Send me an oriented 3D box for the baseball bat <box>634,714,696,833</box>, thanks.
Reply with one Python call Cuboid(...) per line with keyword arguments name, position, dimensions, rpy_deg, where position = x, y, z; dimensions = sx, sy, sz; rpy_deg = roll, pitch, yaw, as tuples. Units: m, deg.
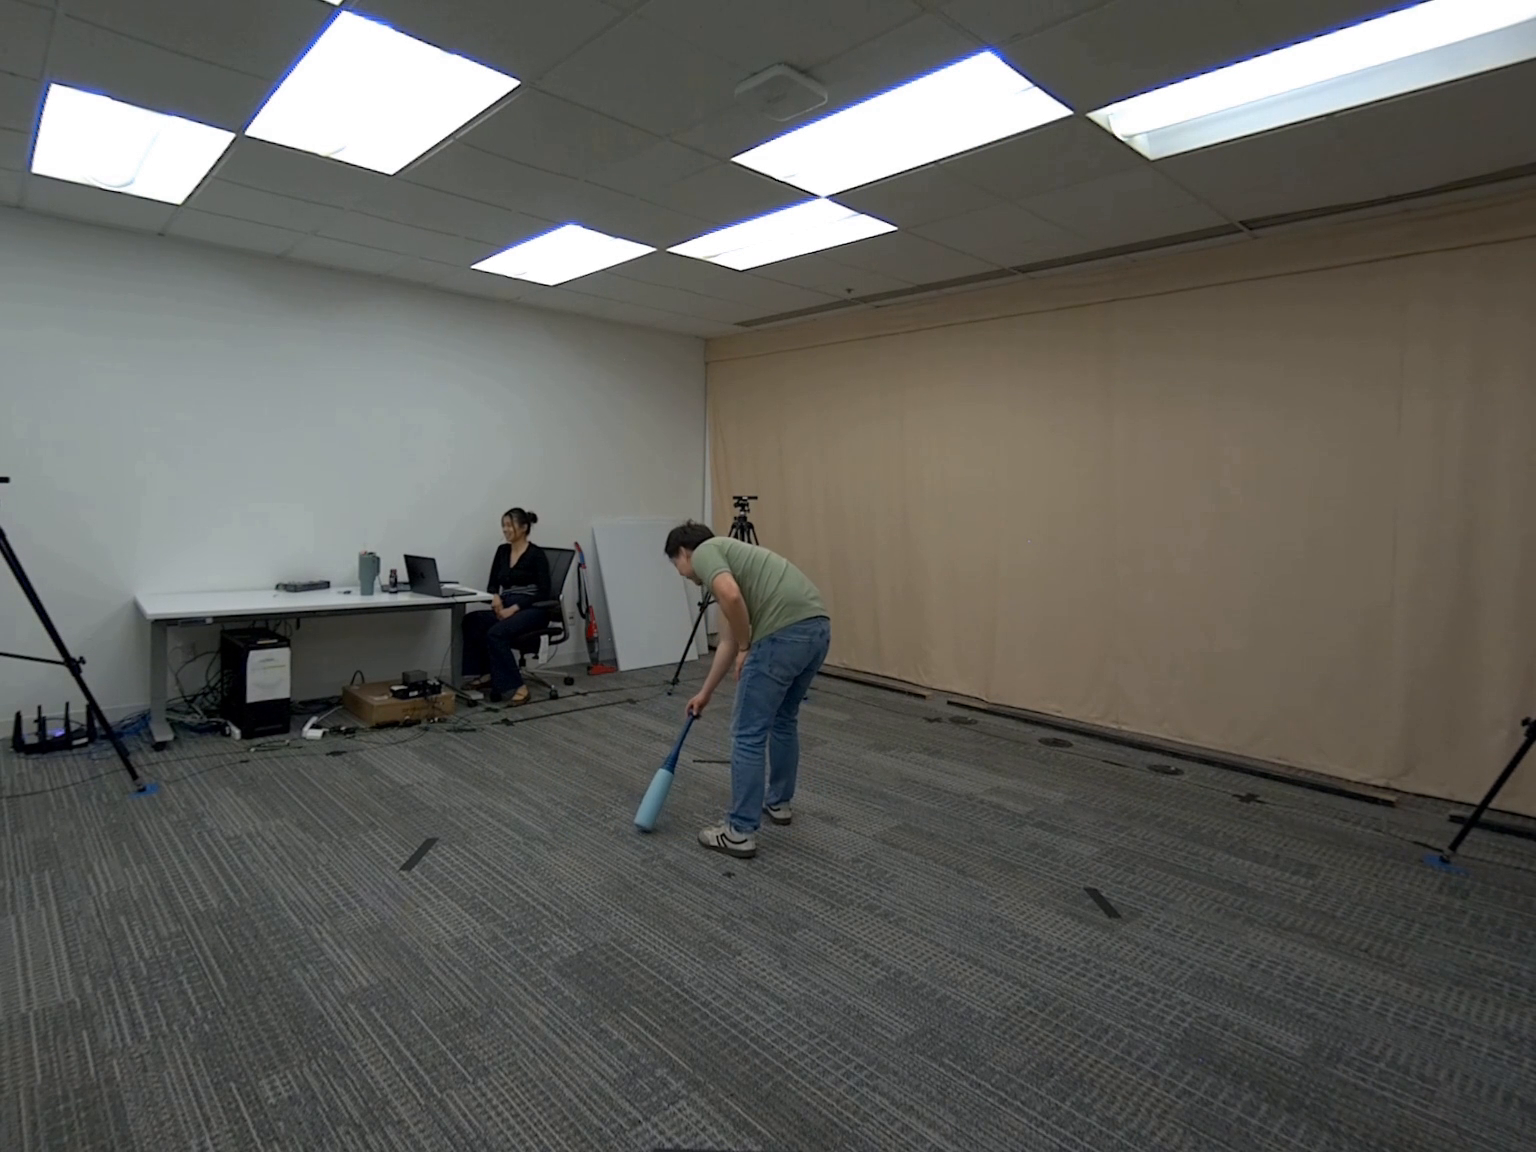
Cuboid(name="baseball bat", position=(-0.427, 0.815, 3.587), dimensions=(0.090, 0.548, 0.087), rpy_deg=(18, -27, 8))
